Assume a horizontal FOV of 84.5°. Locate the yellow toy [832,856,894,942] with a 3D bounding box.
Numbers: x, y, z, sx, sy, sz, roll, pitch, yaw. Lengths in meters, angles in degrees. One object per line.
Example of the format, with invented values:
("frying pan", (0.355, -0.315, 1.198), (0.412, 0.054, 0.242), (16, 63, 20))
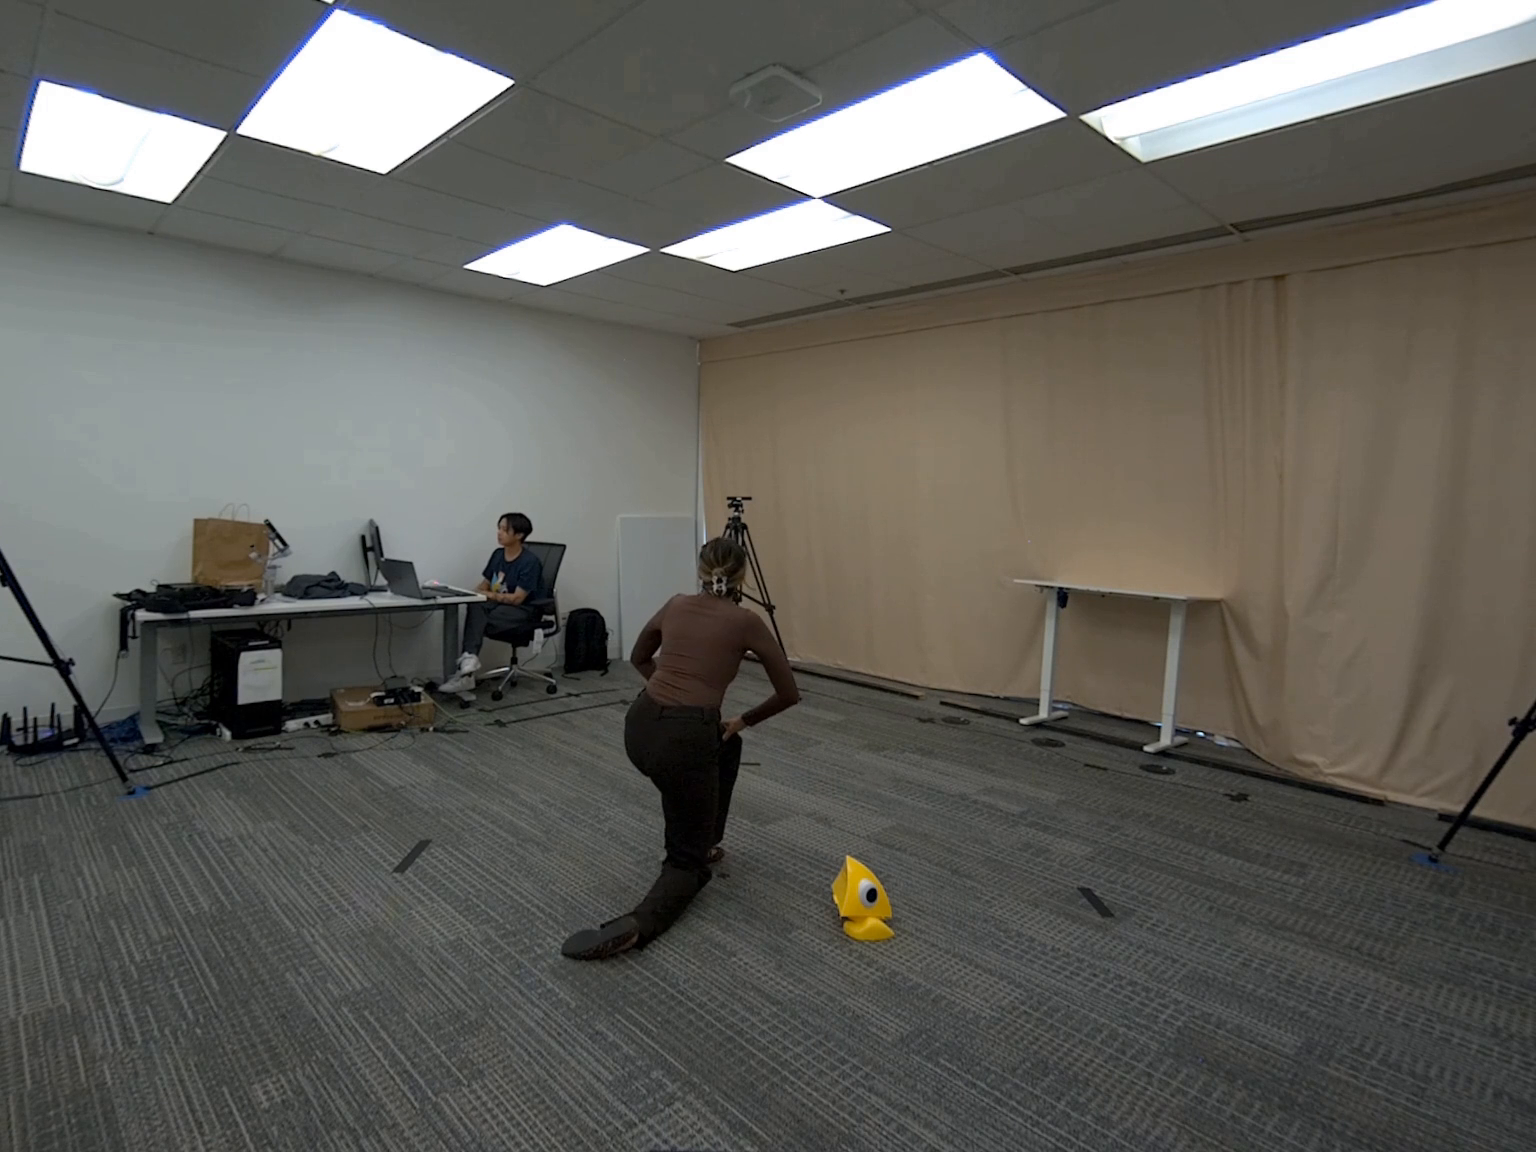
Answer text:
("yellow toy", (0.309, 1.034, 2.760), (0.193, 0.230, 0.206), (1, 4, -3))
